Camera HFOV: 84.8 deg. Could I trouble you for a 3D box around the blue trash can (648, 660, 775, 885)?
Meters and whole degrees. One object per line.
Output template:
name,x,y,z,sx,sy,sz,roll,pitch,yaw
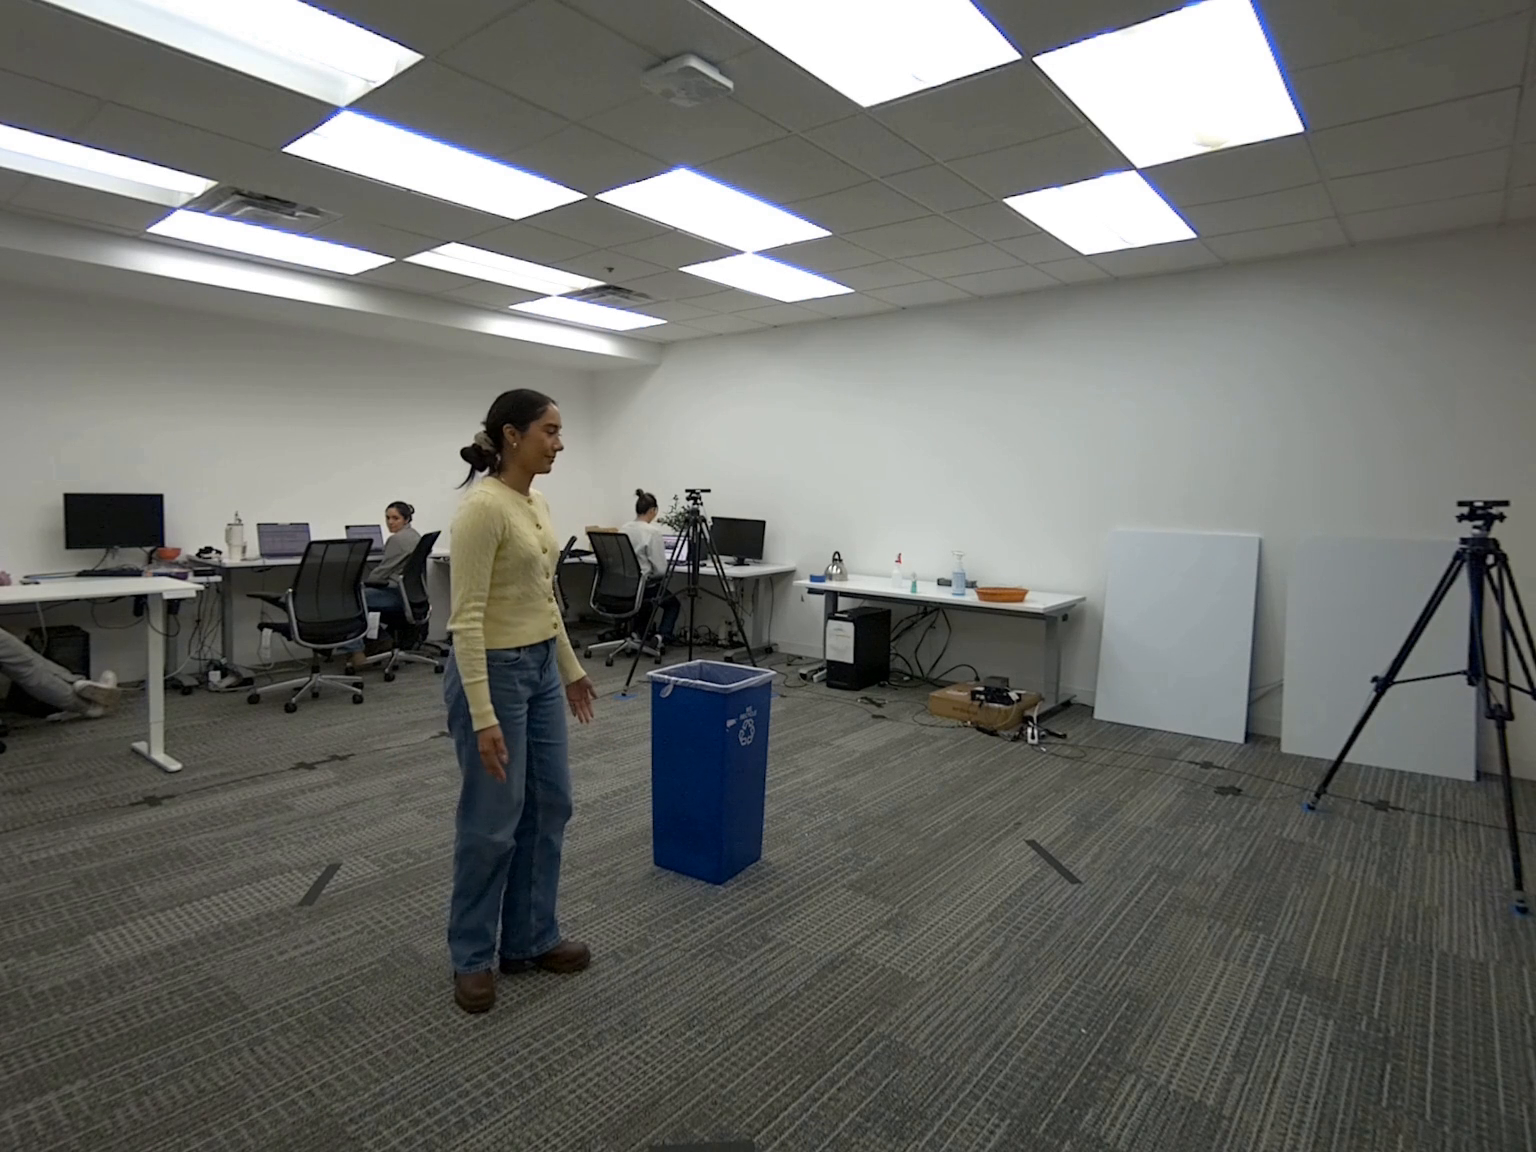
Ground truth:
blue trash can,-0.227,0.708,3.182,0.389,0.712,0.364,3,4,32
